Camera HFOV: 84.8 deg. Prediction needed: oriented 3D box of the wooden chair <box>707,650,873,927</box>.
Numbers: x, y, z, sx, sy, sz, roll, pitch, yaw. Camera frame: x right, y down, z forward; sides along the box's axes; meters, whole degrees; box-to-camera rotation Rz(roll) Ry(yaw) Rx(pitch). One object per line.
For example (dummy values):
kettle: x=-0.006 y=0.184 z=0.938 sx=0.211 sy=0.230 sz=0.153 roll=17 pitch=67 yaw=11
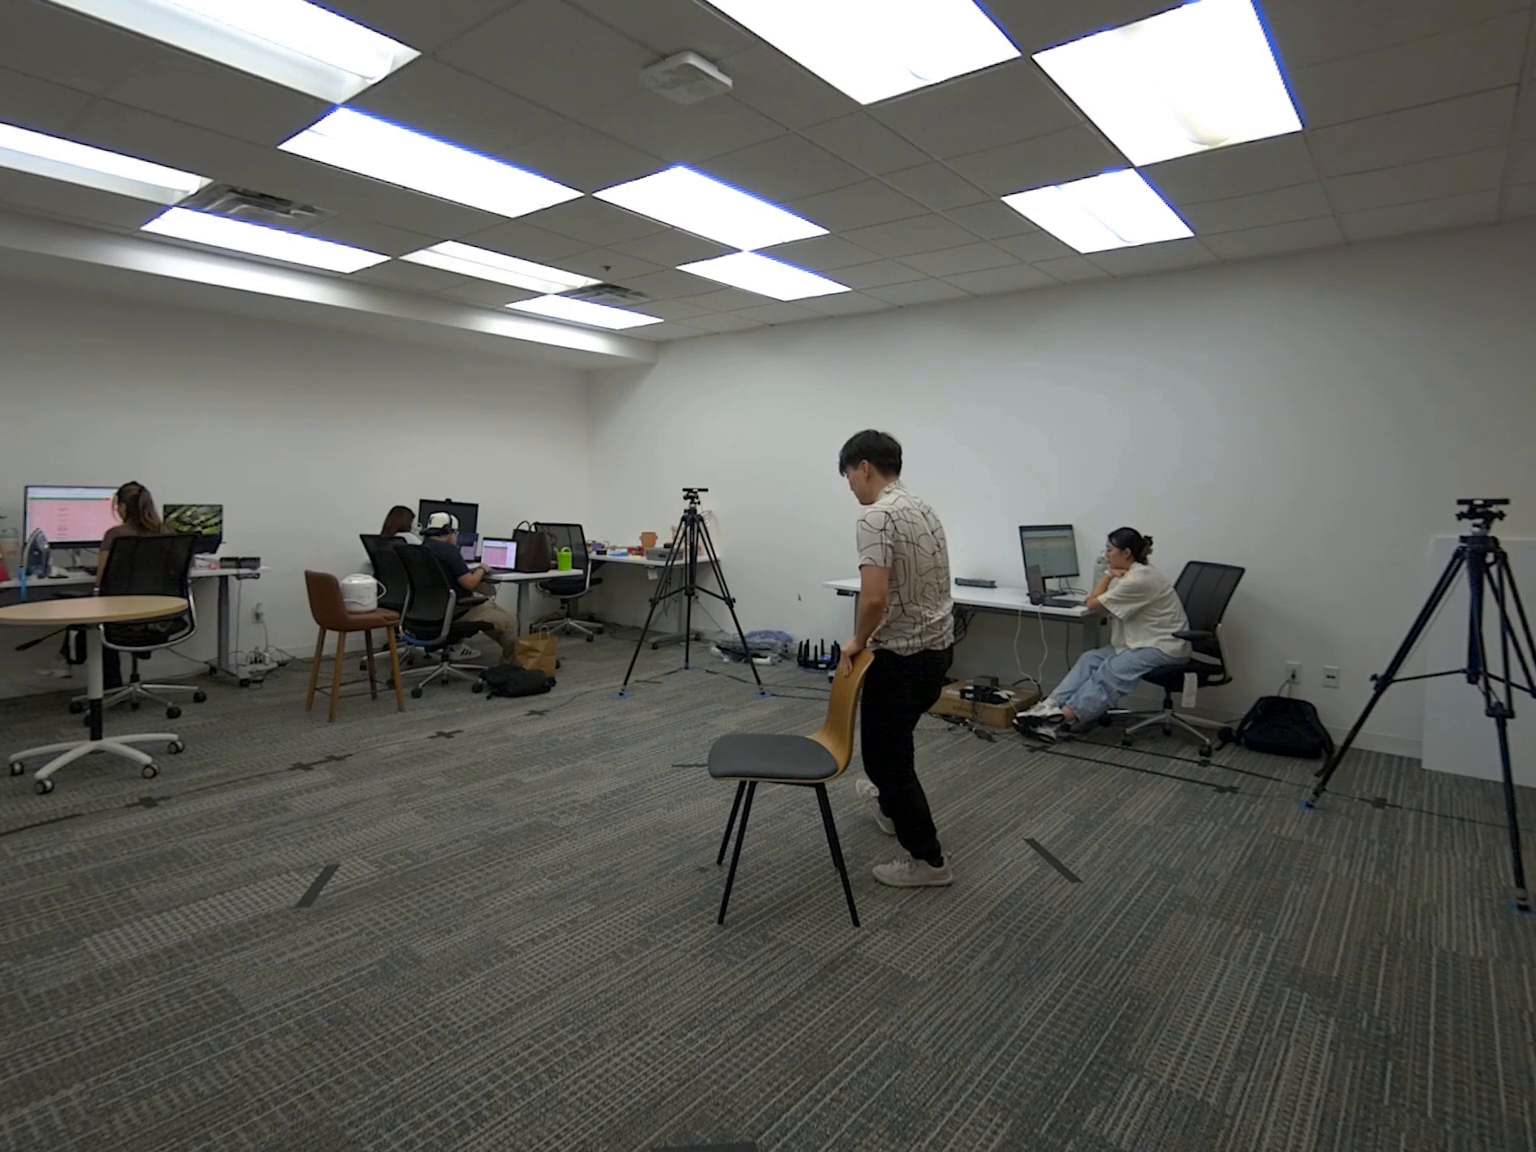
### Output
wooden chair: x=0.049 y=0.669 z=2.909 sx=0.522 sy=0.875 sz=0.480 roll=5 pitch=3 yaw=-3
